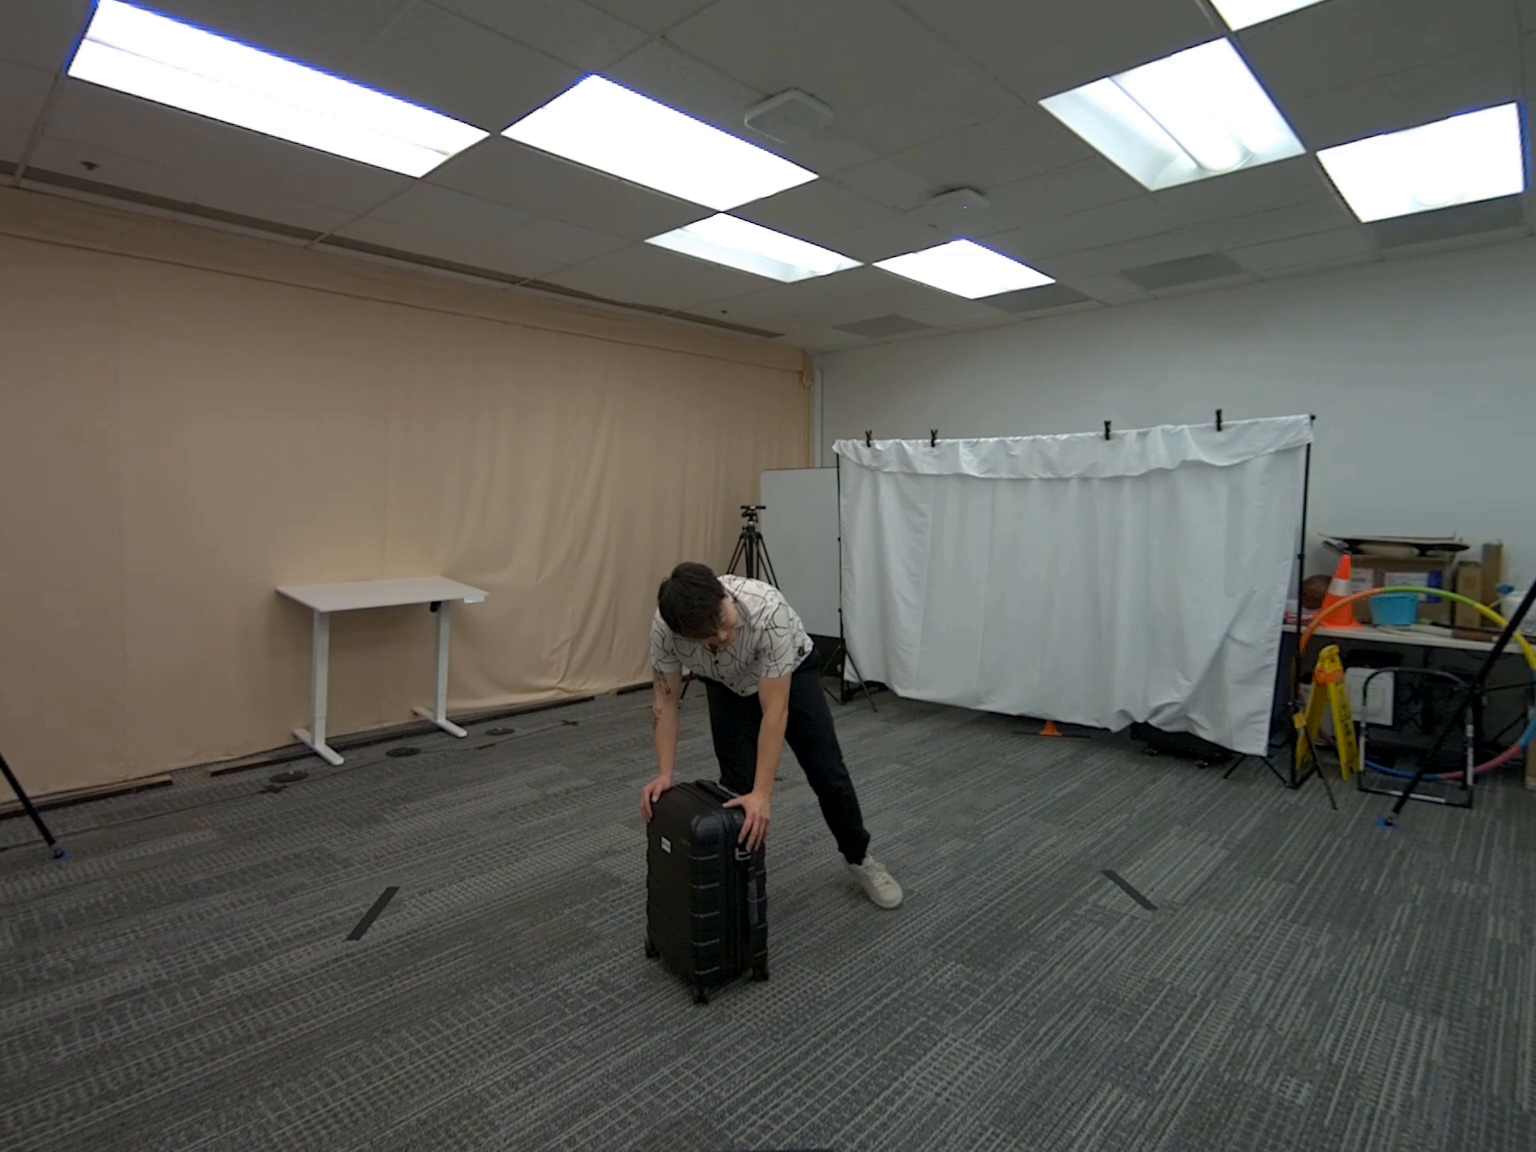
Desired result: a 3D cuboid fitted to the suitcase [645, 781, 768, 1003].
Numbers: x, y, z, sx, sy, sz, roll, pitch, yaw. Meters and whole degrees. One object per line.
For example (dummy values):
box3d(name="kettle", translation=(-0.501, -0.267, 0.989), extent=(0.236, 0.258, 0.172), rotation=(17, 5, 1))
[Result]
box3d(name="suitcase", translation=(-0.179, 0.910, 2.504), extent=(0.241, 0.547, 0.387), rotation=(-3, 6, -33))
